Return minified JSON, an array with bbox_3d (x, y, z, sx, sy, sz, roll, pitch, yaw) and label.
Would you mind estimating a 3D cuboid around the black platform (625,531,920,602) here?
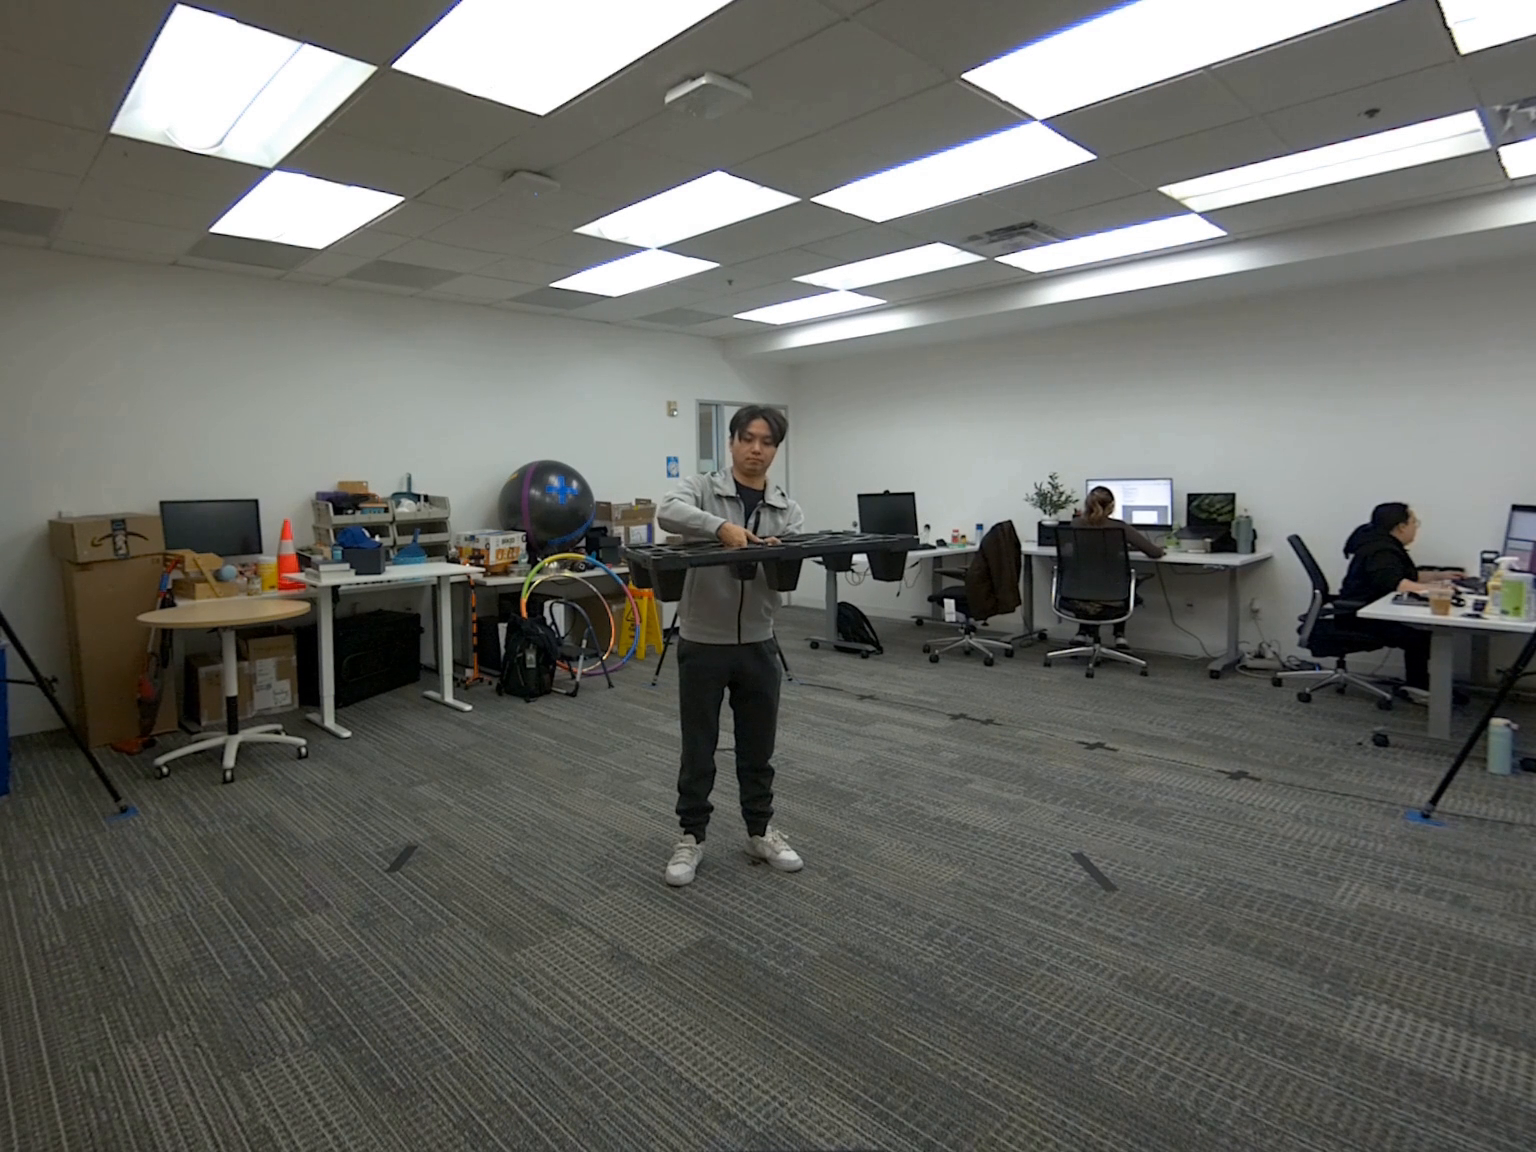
[{"bbox_3d":[-0.012,-0.041,2.658,0.794,0.143,0.616,-5,6,-17],"label":"black platform"}]
